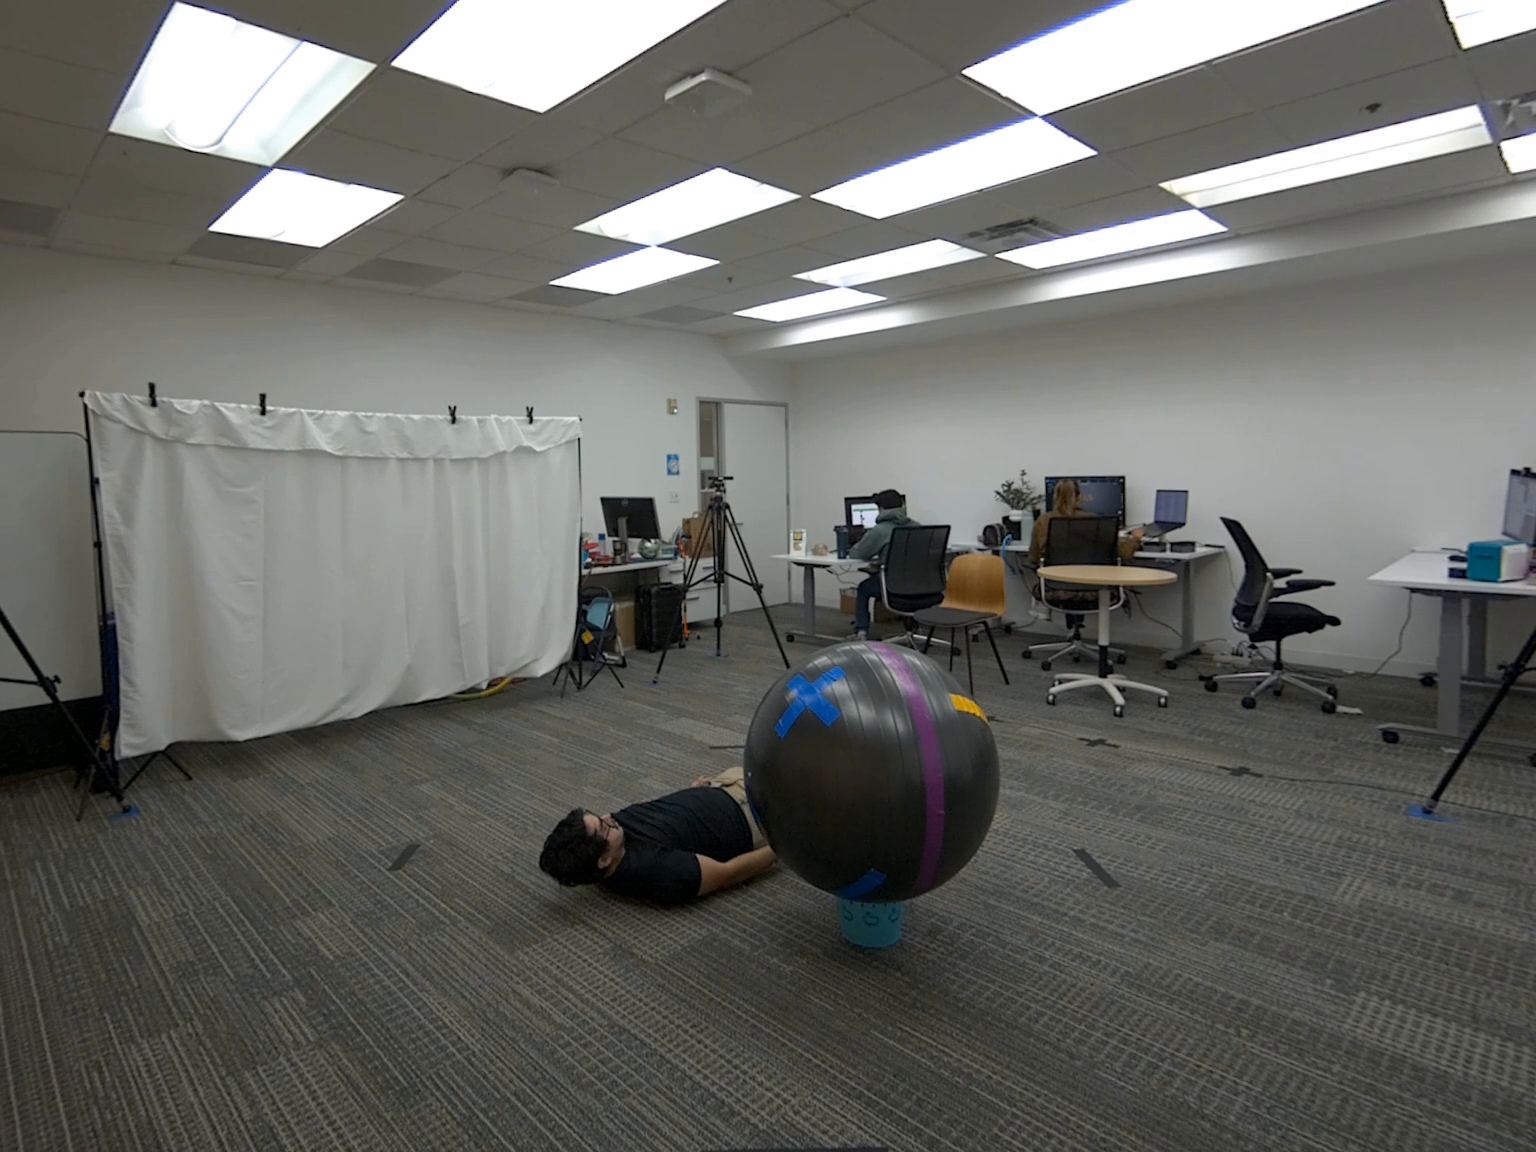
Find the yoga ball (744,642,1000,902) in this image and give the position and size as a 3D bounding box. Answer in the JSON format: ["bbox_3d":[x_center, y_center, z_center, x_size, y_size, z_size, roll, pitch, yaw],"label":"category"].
[{"bbox_3d":[0.311,0.586,2.584,0.757,0.755,0.761,-1,4,-2],"label":"yoga ball"}]
